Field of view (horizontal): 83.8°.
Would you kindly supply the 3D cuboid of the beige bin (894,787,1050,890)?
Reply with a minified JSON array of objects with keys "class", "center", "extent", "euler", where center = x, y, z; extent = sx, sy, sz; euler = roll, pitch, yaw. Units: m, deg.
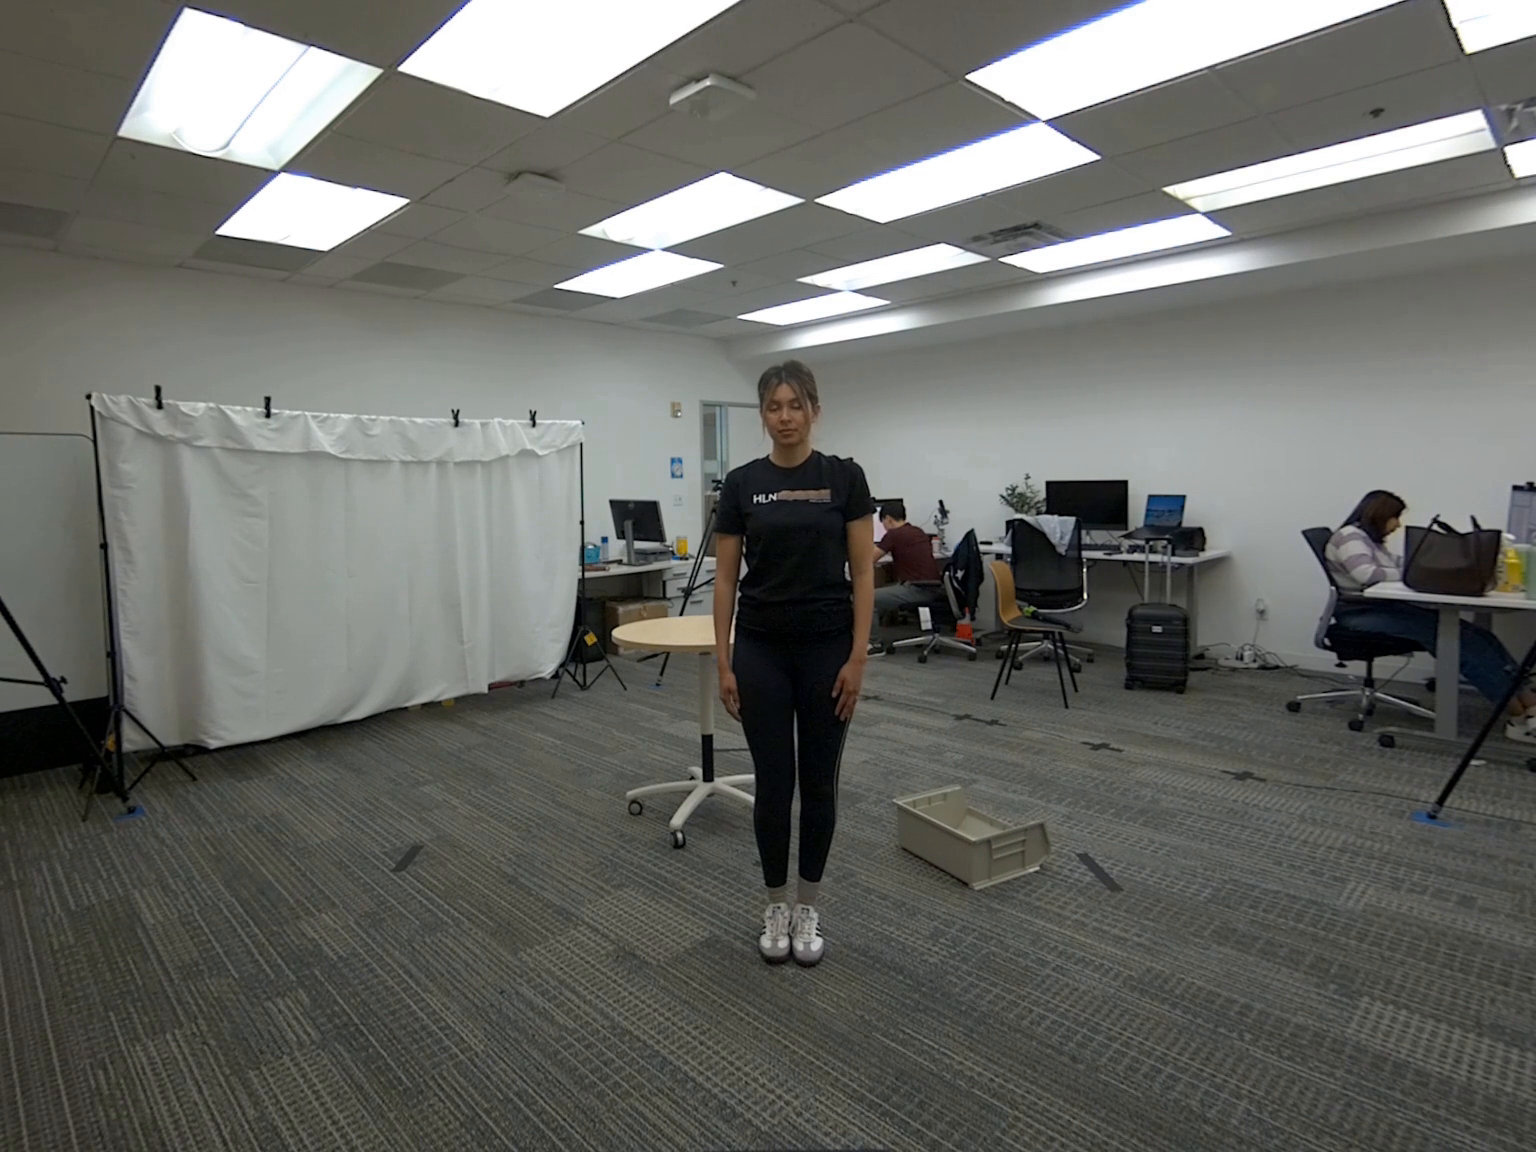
[{"class":"beige bin","center":[0.742,0.942,3.133],"extent":[0.369,0.188,0.434],"euler":[-5,7,-30]}]
